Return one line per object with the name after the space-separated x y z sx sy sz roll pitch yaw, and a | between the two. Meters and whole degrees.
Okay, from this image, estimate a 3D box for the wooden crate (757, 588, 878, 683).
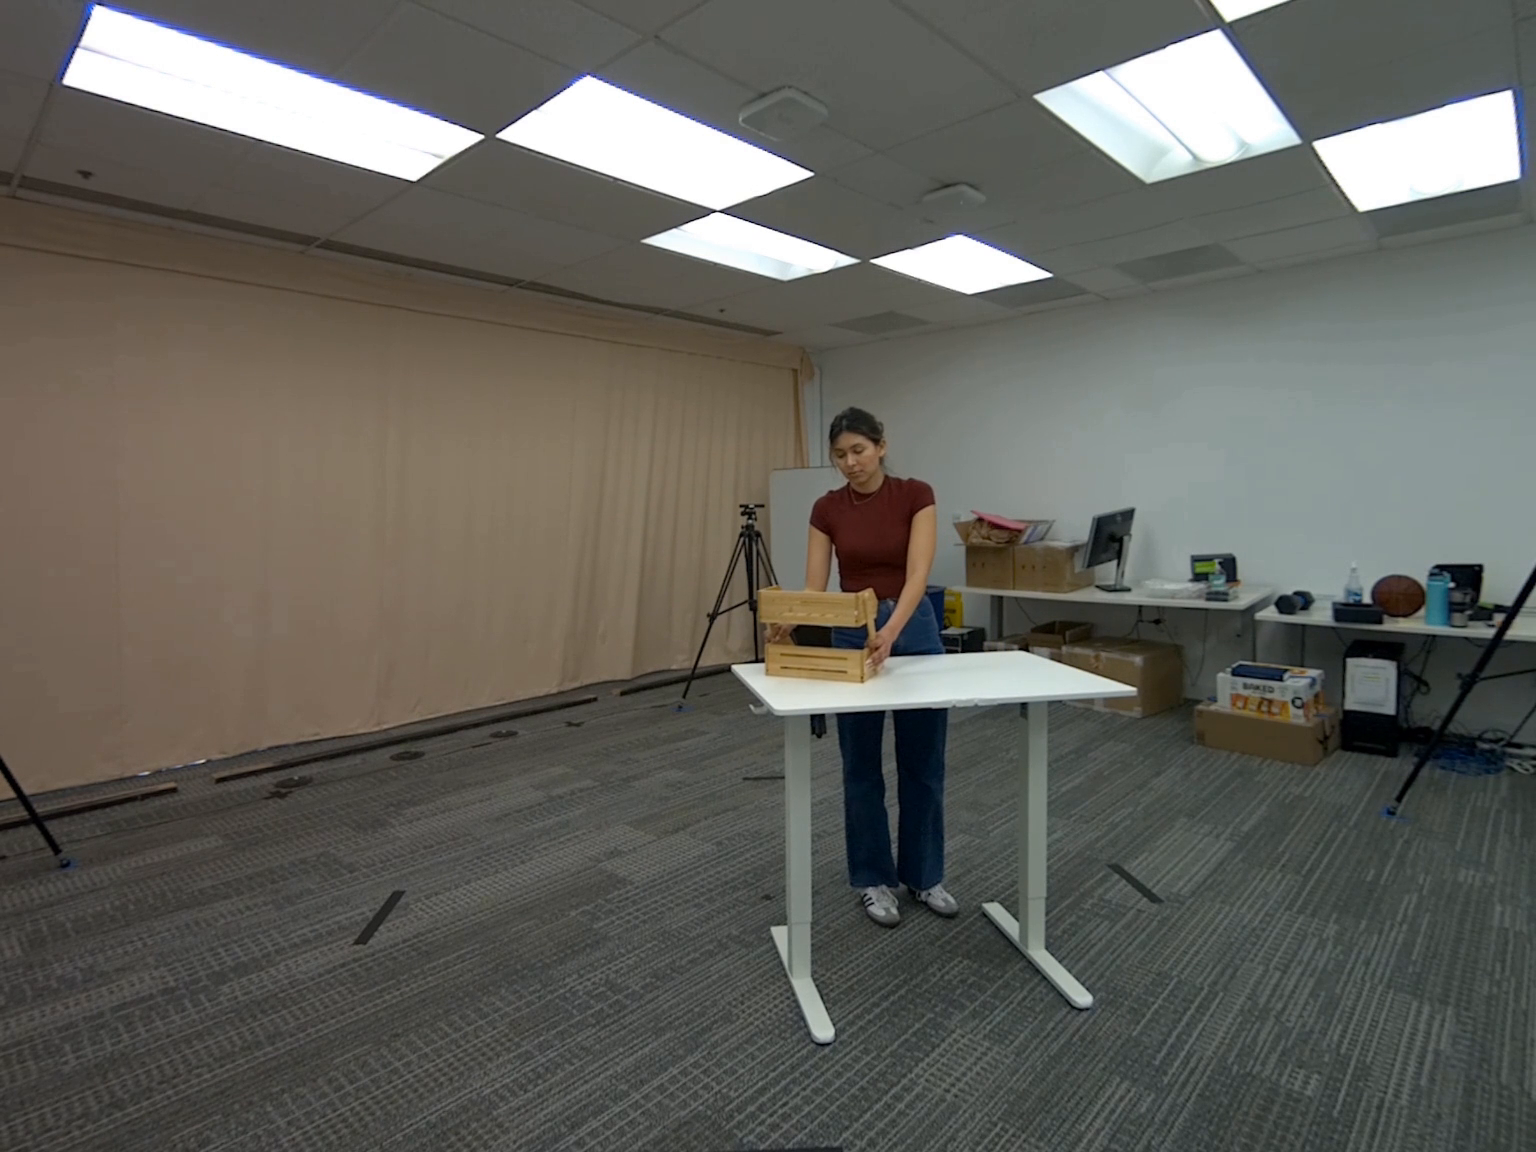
0.174 0.162 2.528 0.332 0.272 0.295 2 5 24 | wooden crate
